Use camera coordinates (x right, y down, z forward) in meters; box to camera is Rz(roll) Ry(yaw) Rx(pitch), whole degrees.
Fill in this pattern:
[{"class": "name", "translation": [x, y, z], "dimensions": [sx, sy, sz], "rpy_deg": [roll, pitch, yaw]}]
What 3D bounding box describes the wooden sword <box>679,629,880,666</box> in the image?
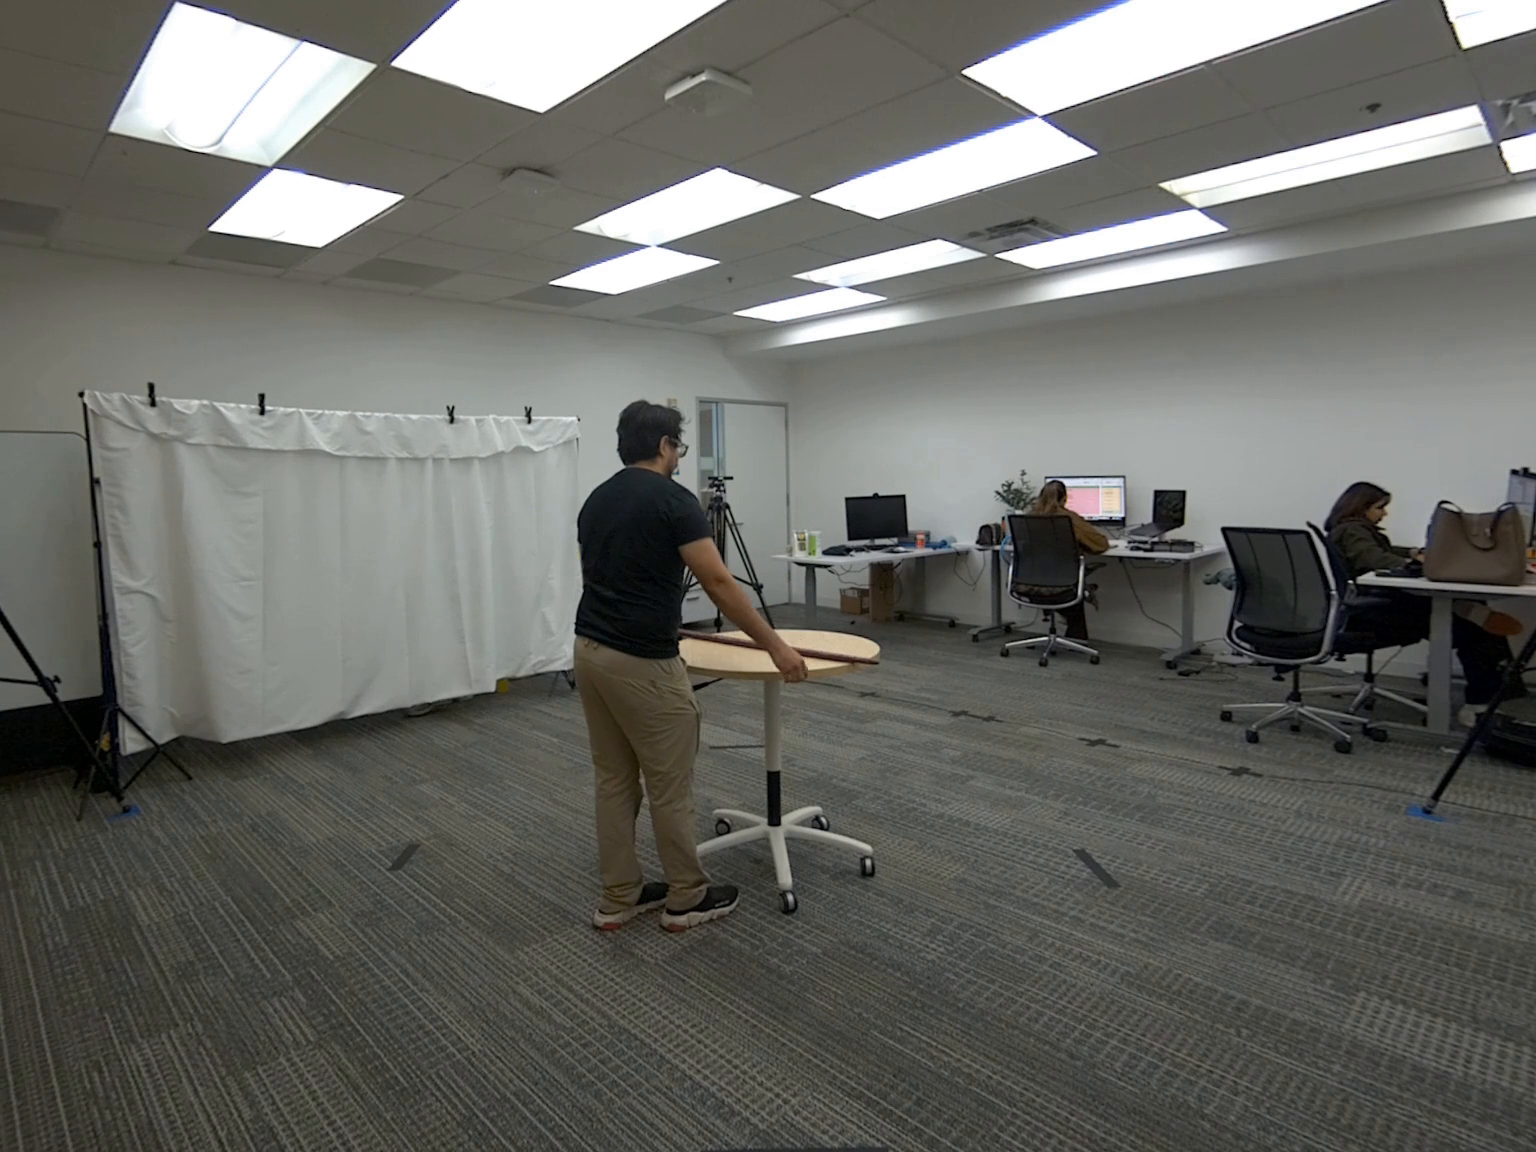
[{"class": "wooden sword", "translation": [-0.033, 0.249, 3.073], "dimensions": [0.050, 0.024, 1.056], "rpy_deg": [-19, 17, -42]}]
